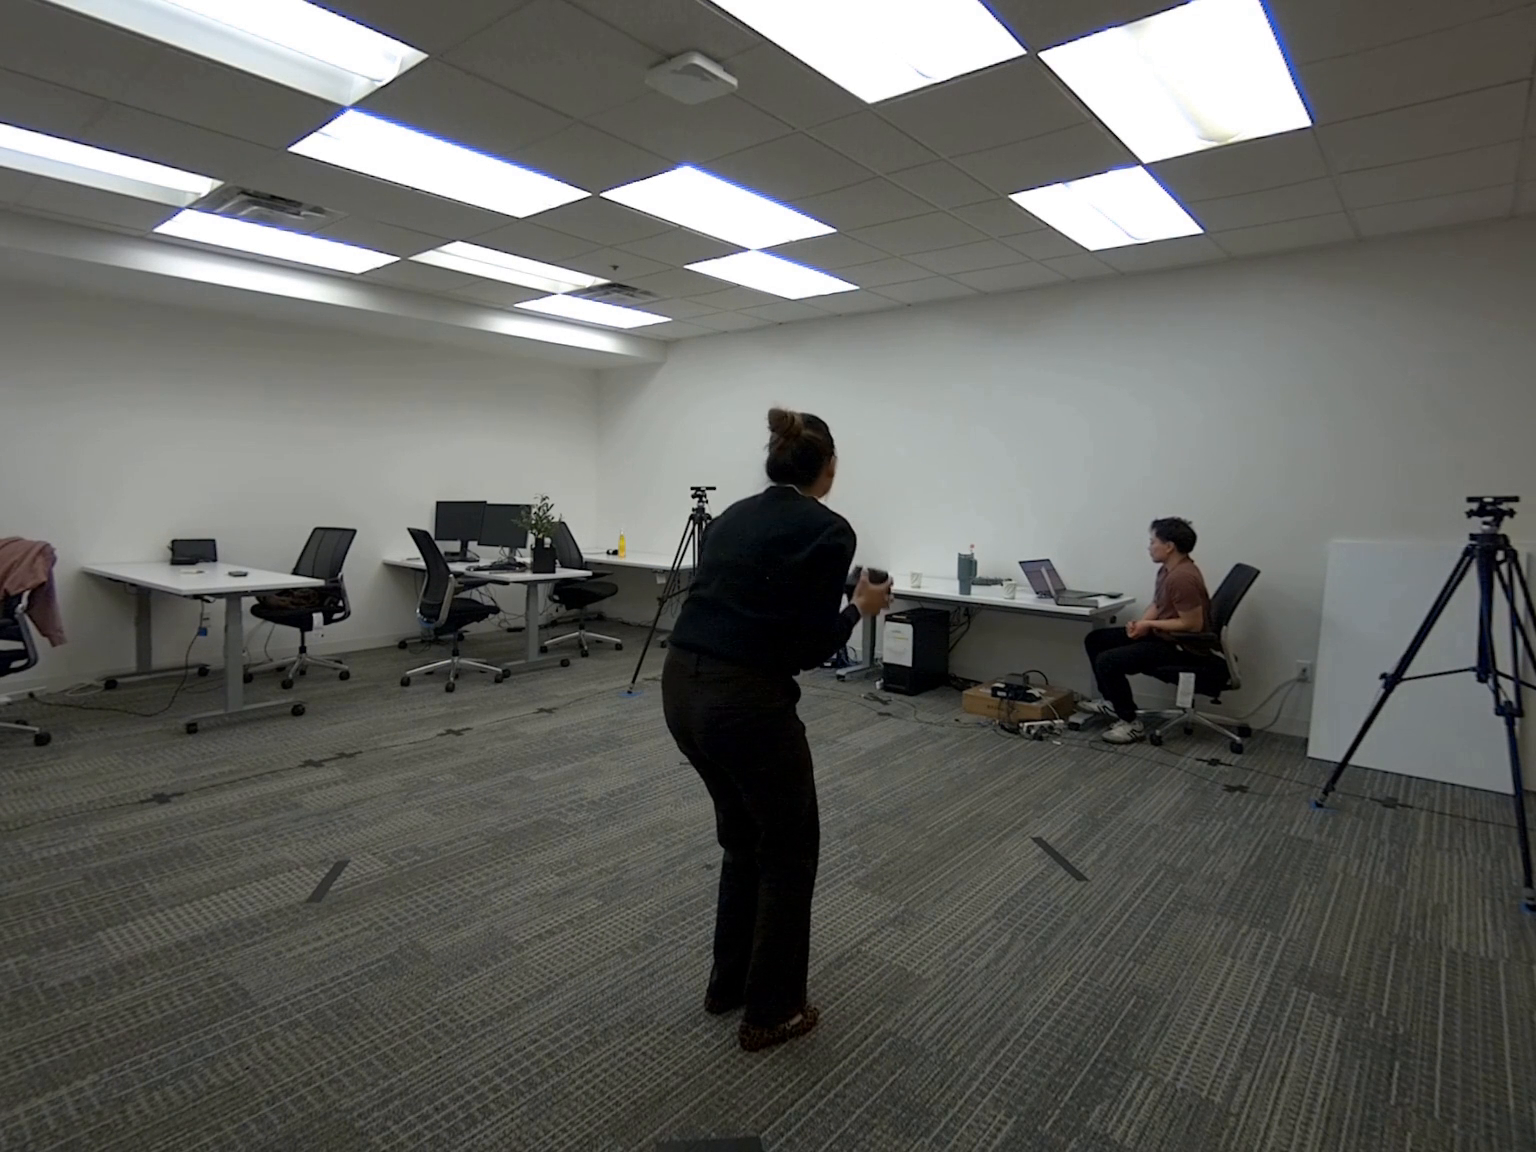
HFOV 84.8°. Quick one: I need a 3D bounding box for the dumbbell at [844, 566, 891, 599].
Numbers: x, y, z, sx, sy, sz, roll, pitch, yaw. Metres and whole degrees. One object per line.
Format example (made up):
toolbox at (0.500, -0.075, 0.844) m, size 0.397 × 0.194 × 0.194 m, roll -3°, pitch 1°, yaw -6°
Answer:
dumbbell at (0.176, 0.032, 2.325) m, size 0.304 × 0.123 × 0.105 m, roll 8°, pitch -37°, yaw 49°
